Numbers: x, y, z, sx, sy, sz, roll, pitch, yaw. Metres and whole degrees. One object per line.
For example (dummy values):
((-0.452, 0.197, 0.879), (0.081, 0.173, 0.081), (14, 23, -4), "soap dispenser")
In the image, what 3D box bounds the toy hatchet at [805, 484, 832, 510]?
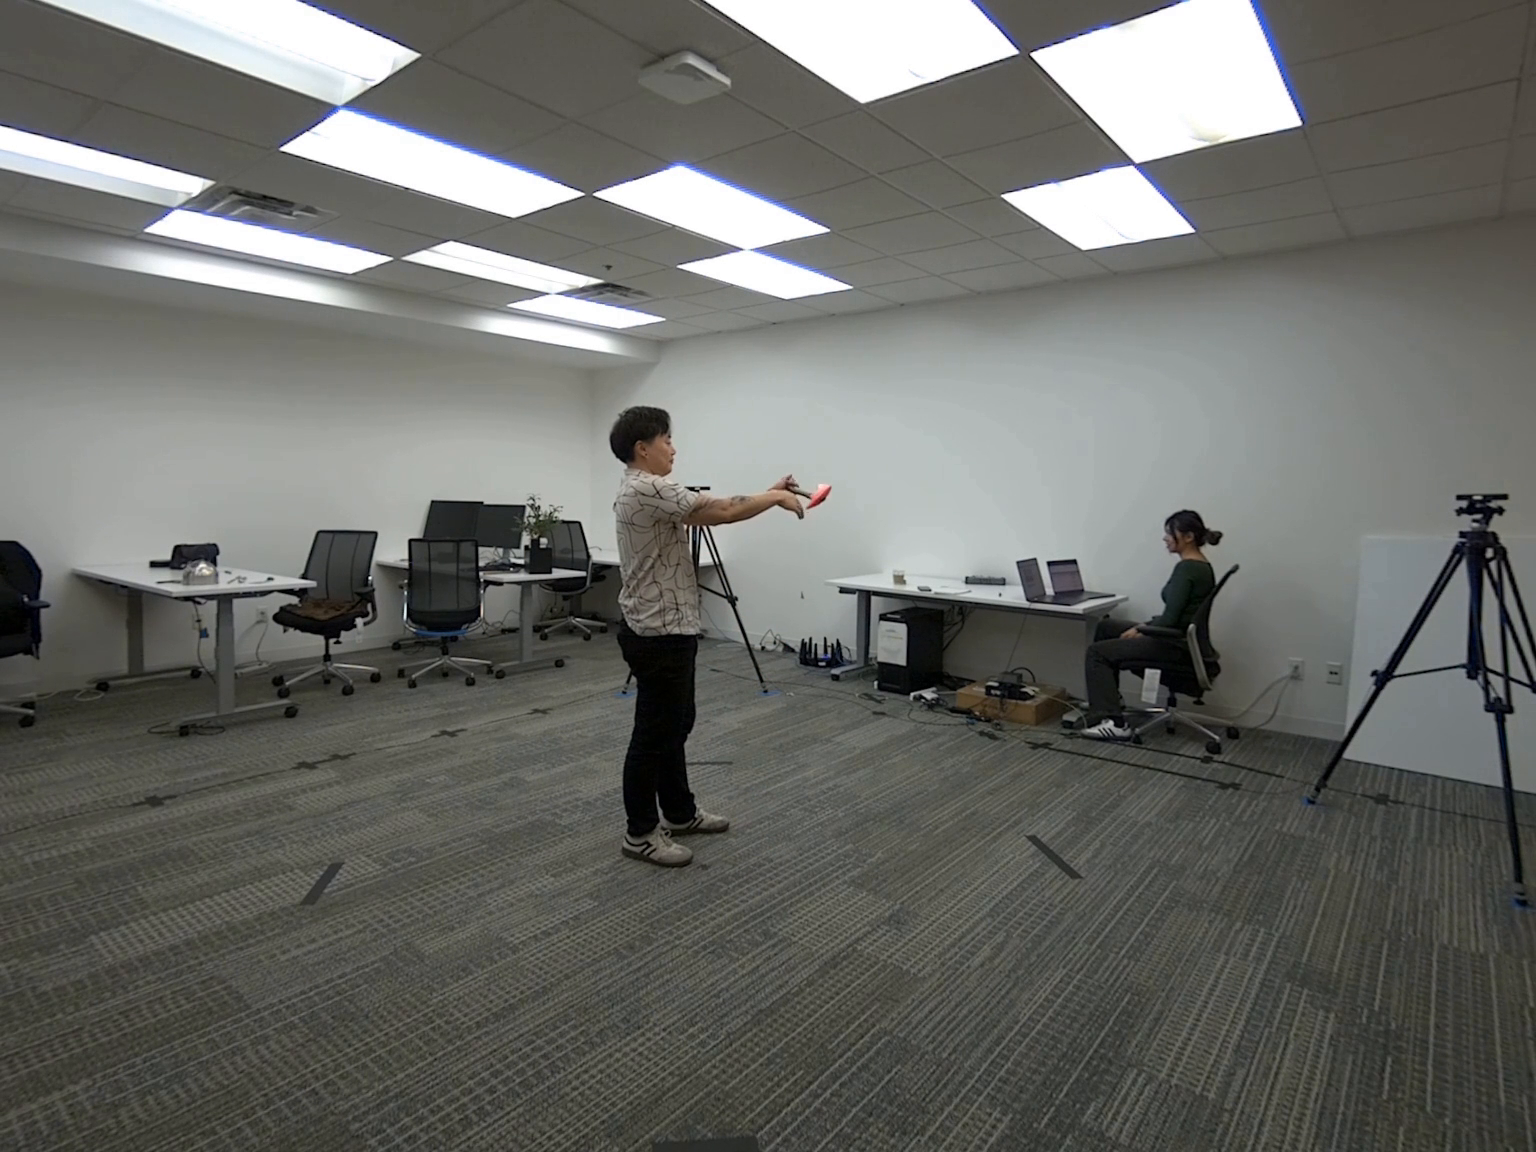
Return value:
((0.138, -0.343, 3.241), (0.131, 0.028, 0.281), (-35, 36, 0), "toy hatchet")
